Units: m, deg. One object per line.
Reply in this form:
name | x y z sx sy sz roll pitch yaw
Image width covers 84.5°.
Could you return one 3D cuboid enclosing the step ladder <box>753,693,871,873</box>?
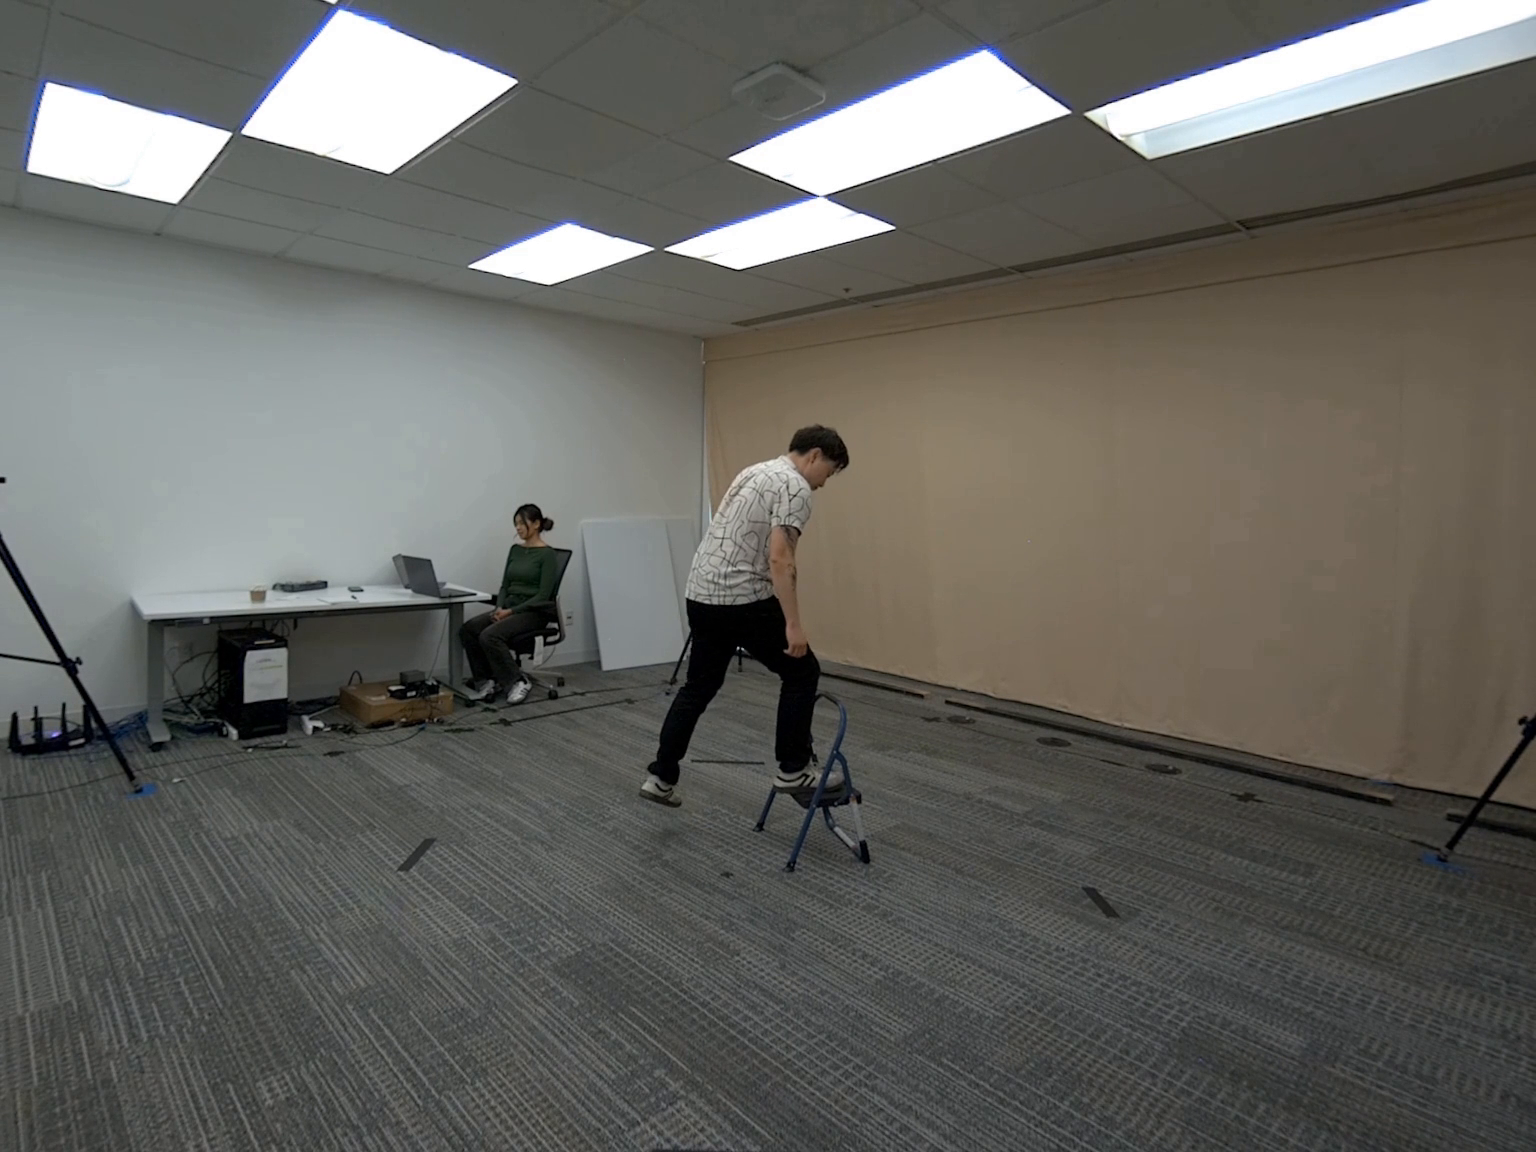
step ladder | 0.169 0.786 3.364 0.345 0.605 0.437 1 4 -17
